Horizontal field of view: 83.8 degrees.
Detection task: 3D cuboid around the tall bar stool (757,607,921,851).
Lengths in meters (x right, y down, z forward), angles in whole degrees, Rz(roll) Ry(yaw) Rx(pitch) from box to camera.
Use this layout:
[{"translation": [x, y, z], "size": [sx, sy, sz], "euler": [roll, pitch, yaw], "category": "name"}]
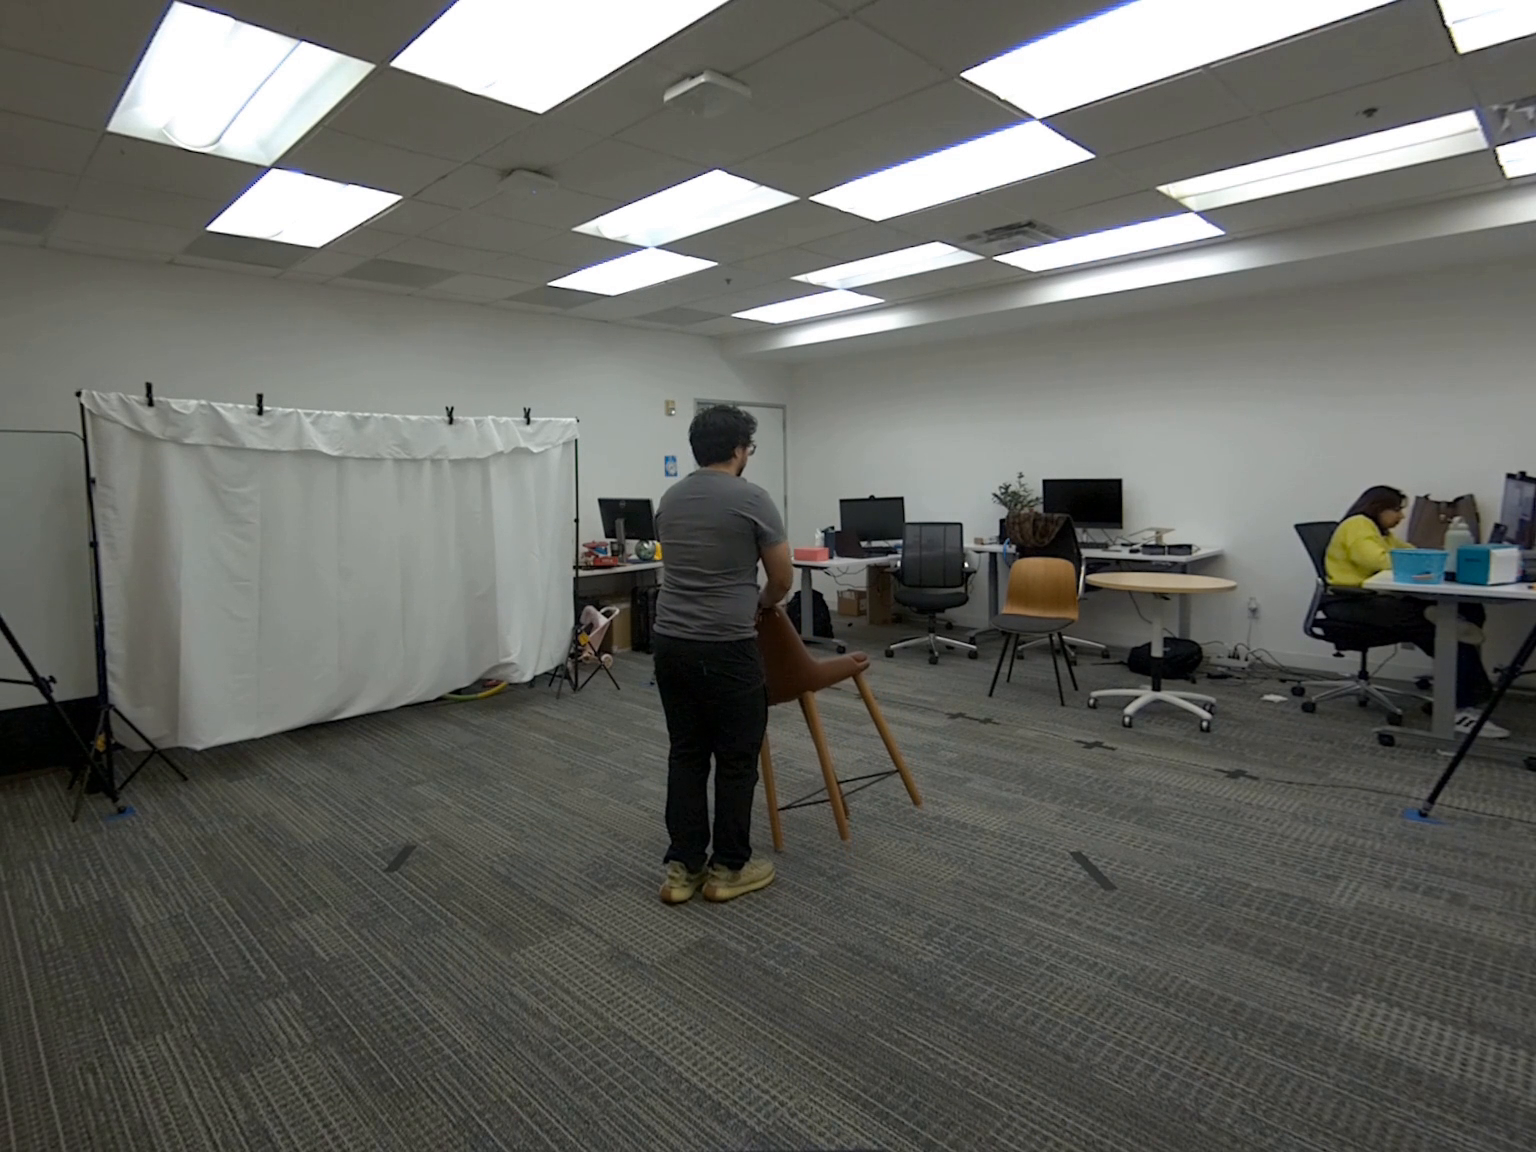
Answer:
[{"translation": [0.166, 0.543, 3.322], "size": [0.456, 0.901, 0.462], "euler": [-9, -14, -44], "category": "tall bar stool"}]
